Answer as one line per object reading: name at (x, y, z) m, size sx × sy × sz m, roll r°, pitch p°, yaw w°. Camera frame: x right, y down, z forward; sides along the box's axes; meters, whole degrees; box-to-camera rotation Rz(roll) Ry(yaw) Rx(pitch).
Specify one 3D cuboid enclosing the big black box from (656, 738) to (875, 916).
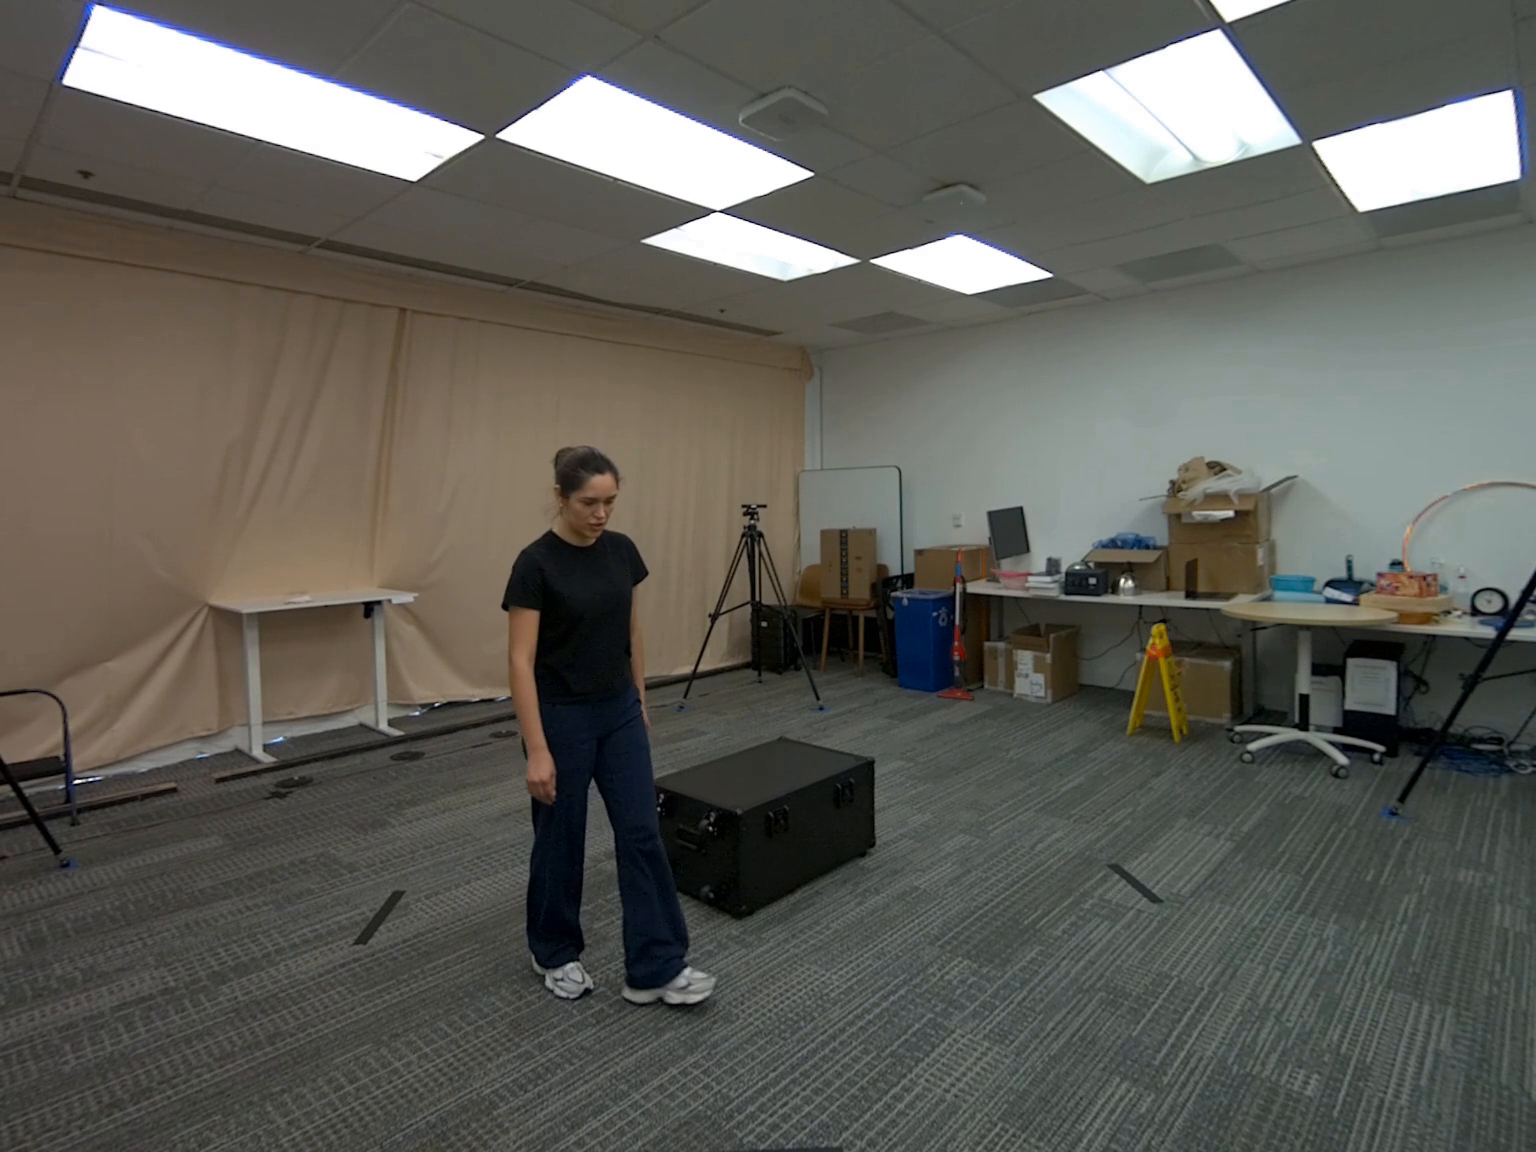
big black box at (-0.021, 0.930, 3.216) m, size 0.538 × 0.395 × 0.835 m, roll 3°, pitch 6°, yaw 43°
